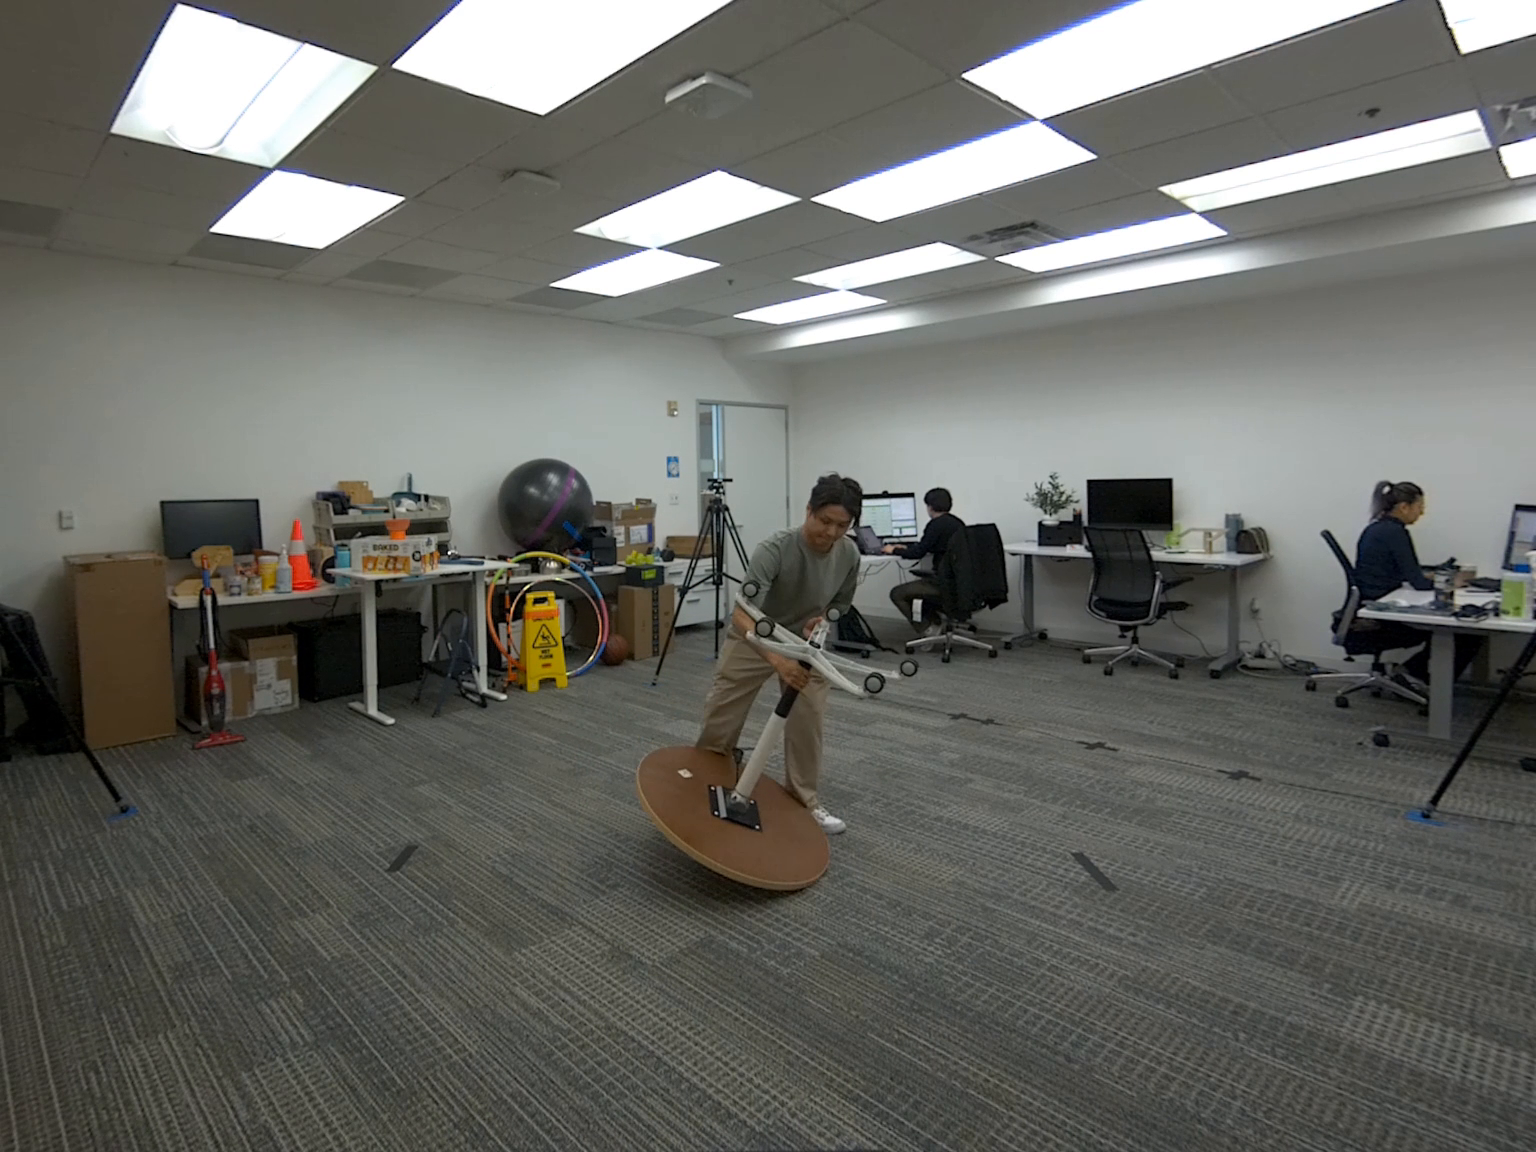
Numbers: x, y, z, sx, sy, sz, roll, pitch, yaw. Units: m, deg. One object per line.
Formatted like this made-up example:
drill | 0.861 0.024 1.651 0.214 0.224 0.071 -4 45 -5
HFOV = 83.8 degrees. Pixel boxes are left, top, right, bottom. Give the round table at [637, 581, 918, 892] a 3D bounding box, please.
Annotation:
round table | 0.020 0.528 3.043 0.779 0.783 0.795 23 11 -7
